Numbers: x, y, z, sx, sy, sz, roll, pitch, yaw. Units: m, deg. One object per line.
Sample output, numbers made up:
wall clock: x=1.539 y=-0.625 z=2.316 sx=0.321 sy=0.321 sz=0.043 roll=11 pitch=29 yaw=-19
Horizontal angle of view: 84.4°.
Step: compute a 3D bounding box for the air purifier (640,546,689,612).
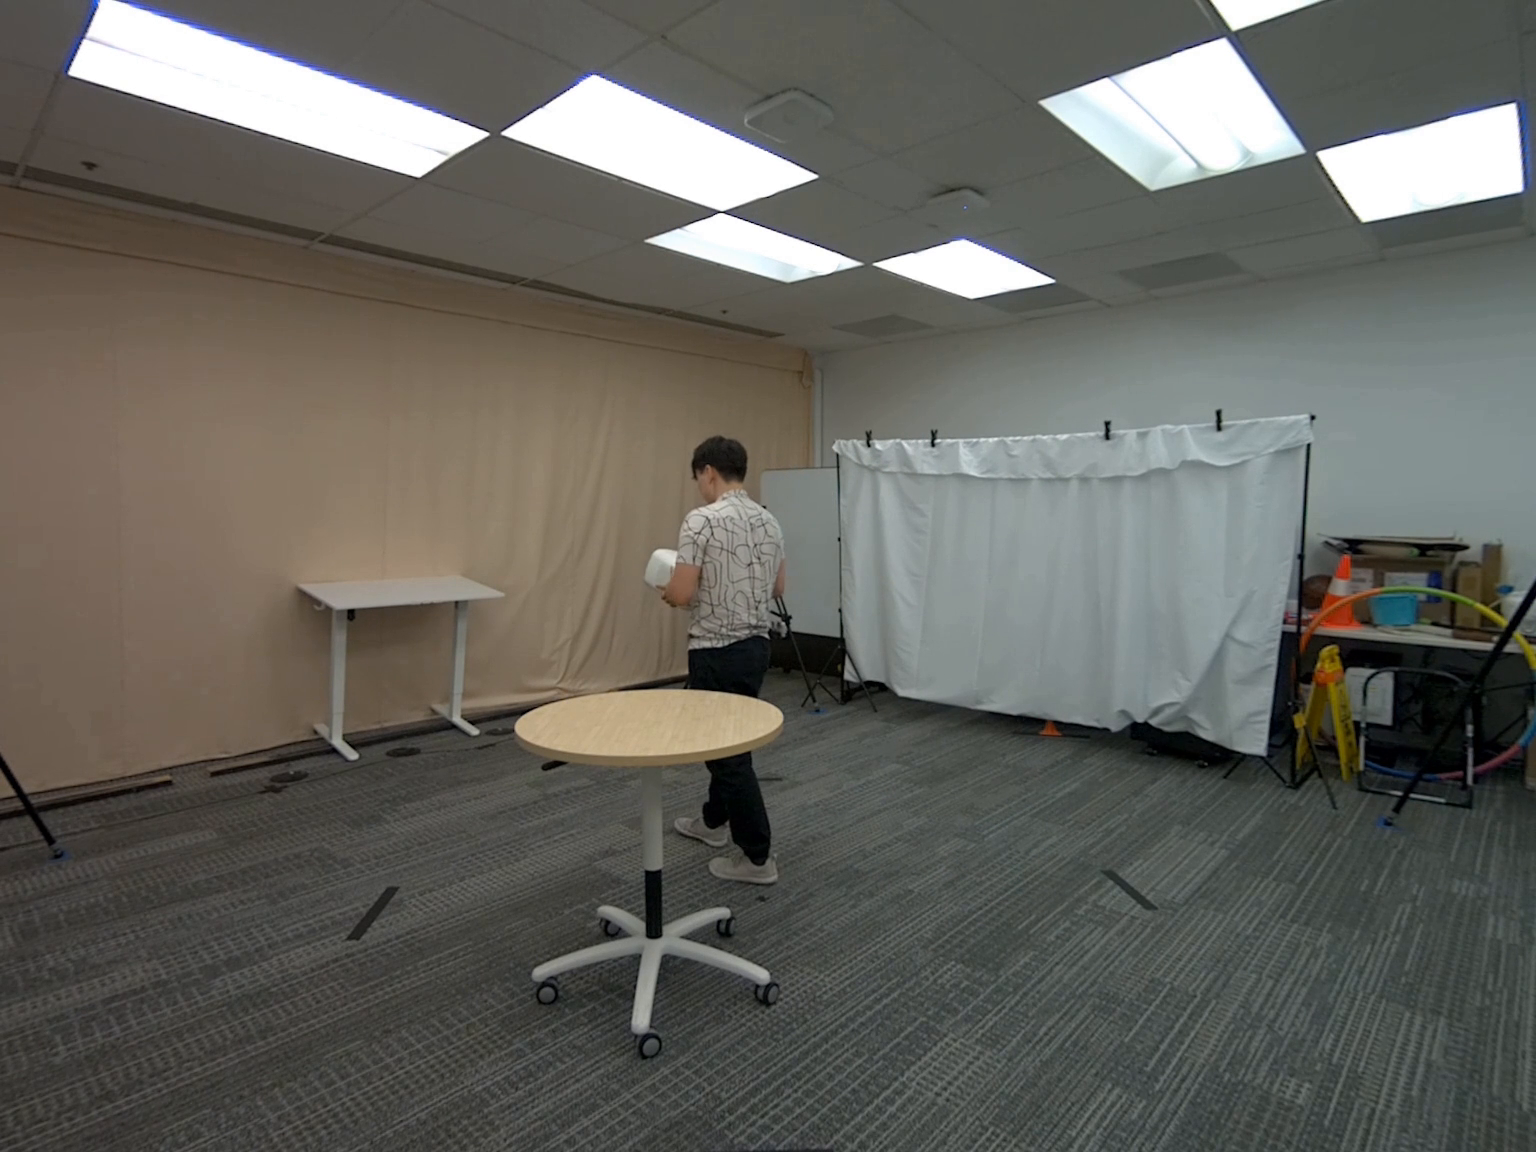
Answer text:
air purifier: x=-0.356 y=0.012 z=3.450 sx=0.165 sy=0.171 sz=0.275 roll=6 pitch=18 yaw=-47
